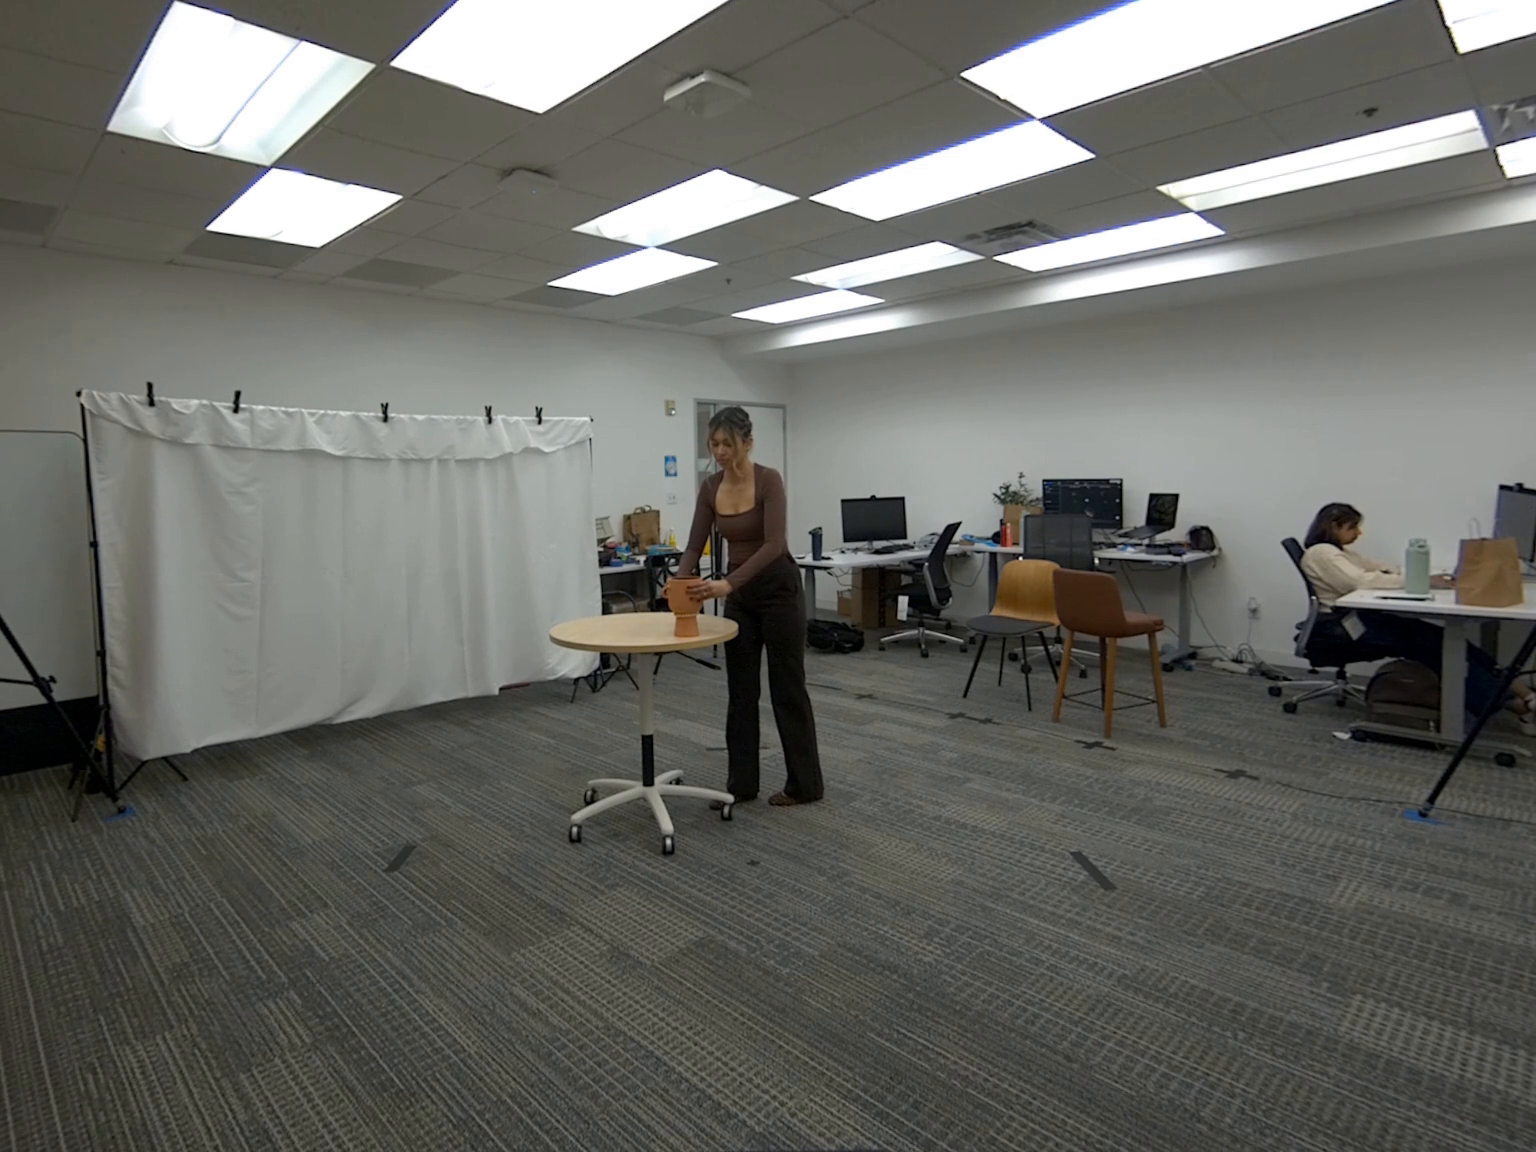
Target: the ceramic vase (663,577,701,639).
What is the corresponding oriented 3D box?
[{"bbox_3d":[-0.316,0.120,3.296,0.161,0.219,0.133,3,5,16],"label":"ceramic vase"}]
